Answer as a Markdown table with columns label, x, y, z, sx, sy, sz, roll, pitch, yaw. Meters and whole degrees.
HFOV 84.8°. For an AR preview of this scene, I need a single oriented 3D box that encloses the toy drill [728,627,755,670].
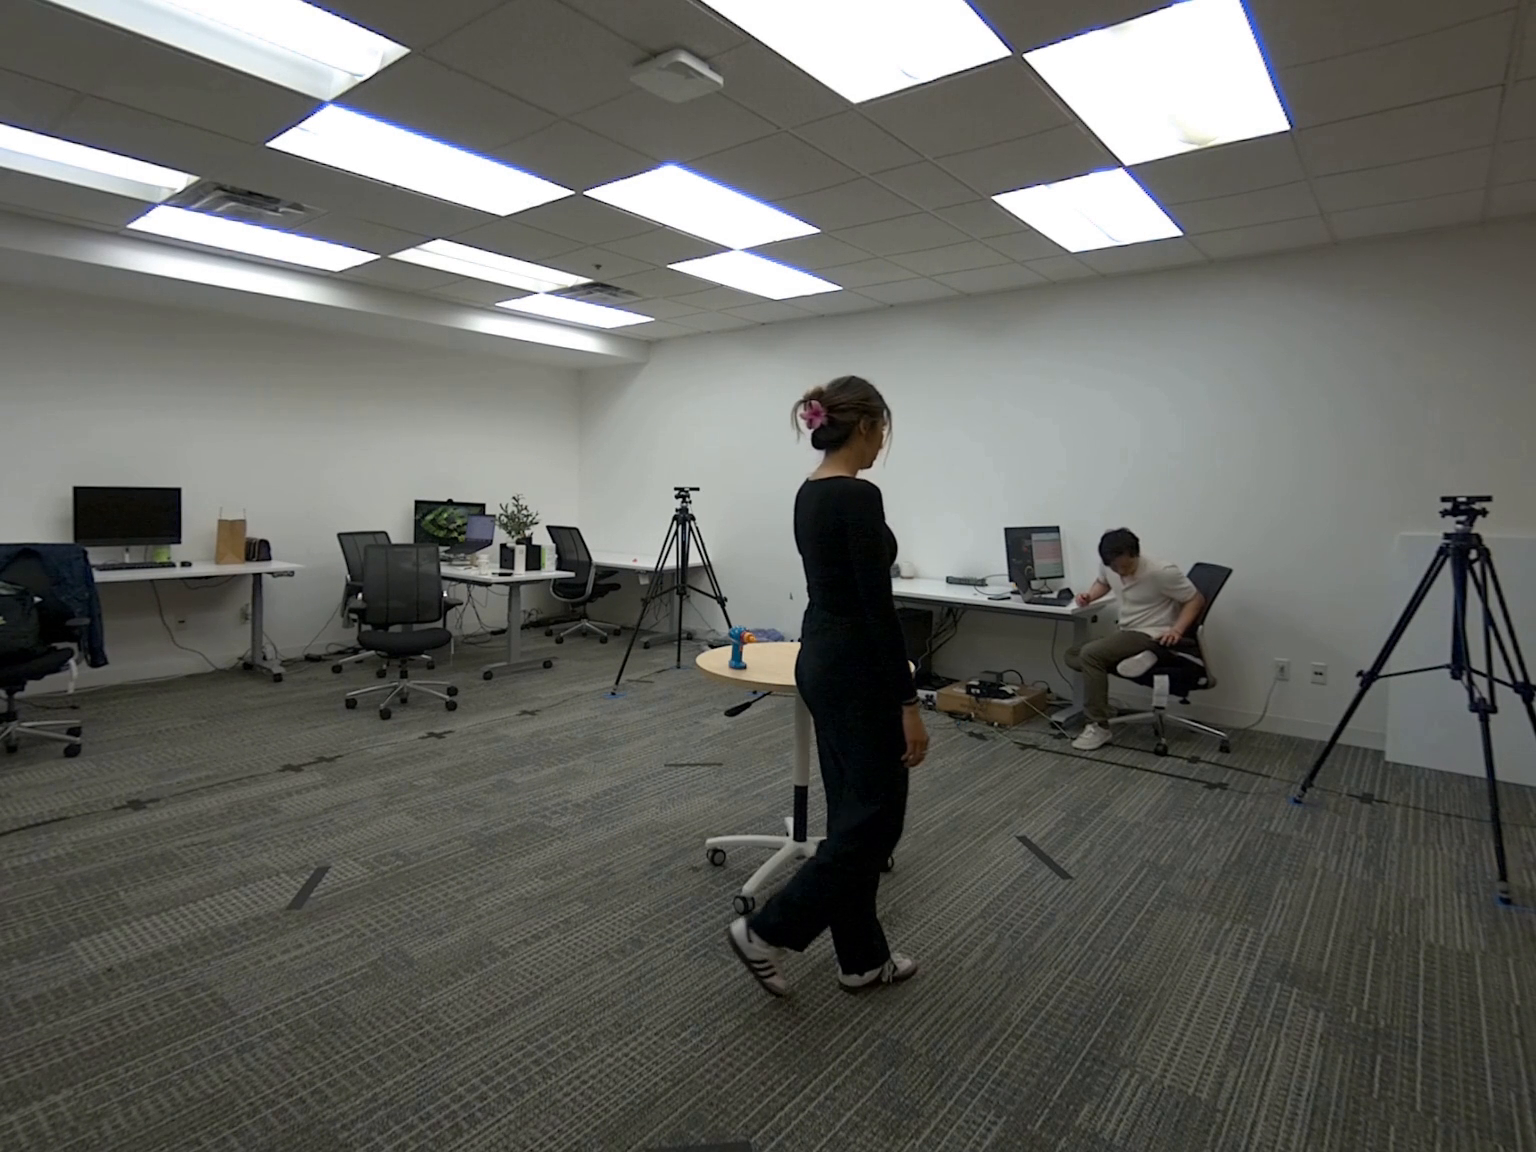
| label | x | y | z | sx | sy | sz | roll | pitch | yaw |
| --- | --- | --- | --- | --- | --- | --- | --- | --- | --- |
| toy drill | -0.089 | 0.239 | 2.847 | 0.059 | 0.146 | 0.175 | -1 | 4 | -30 |
